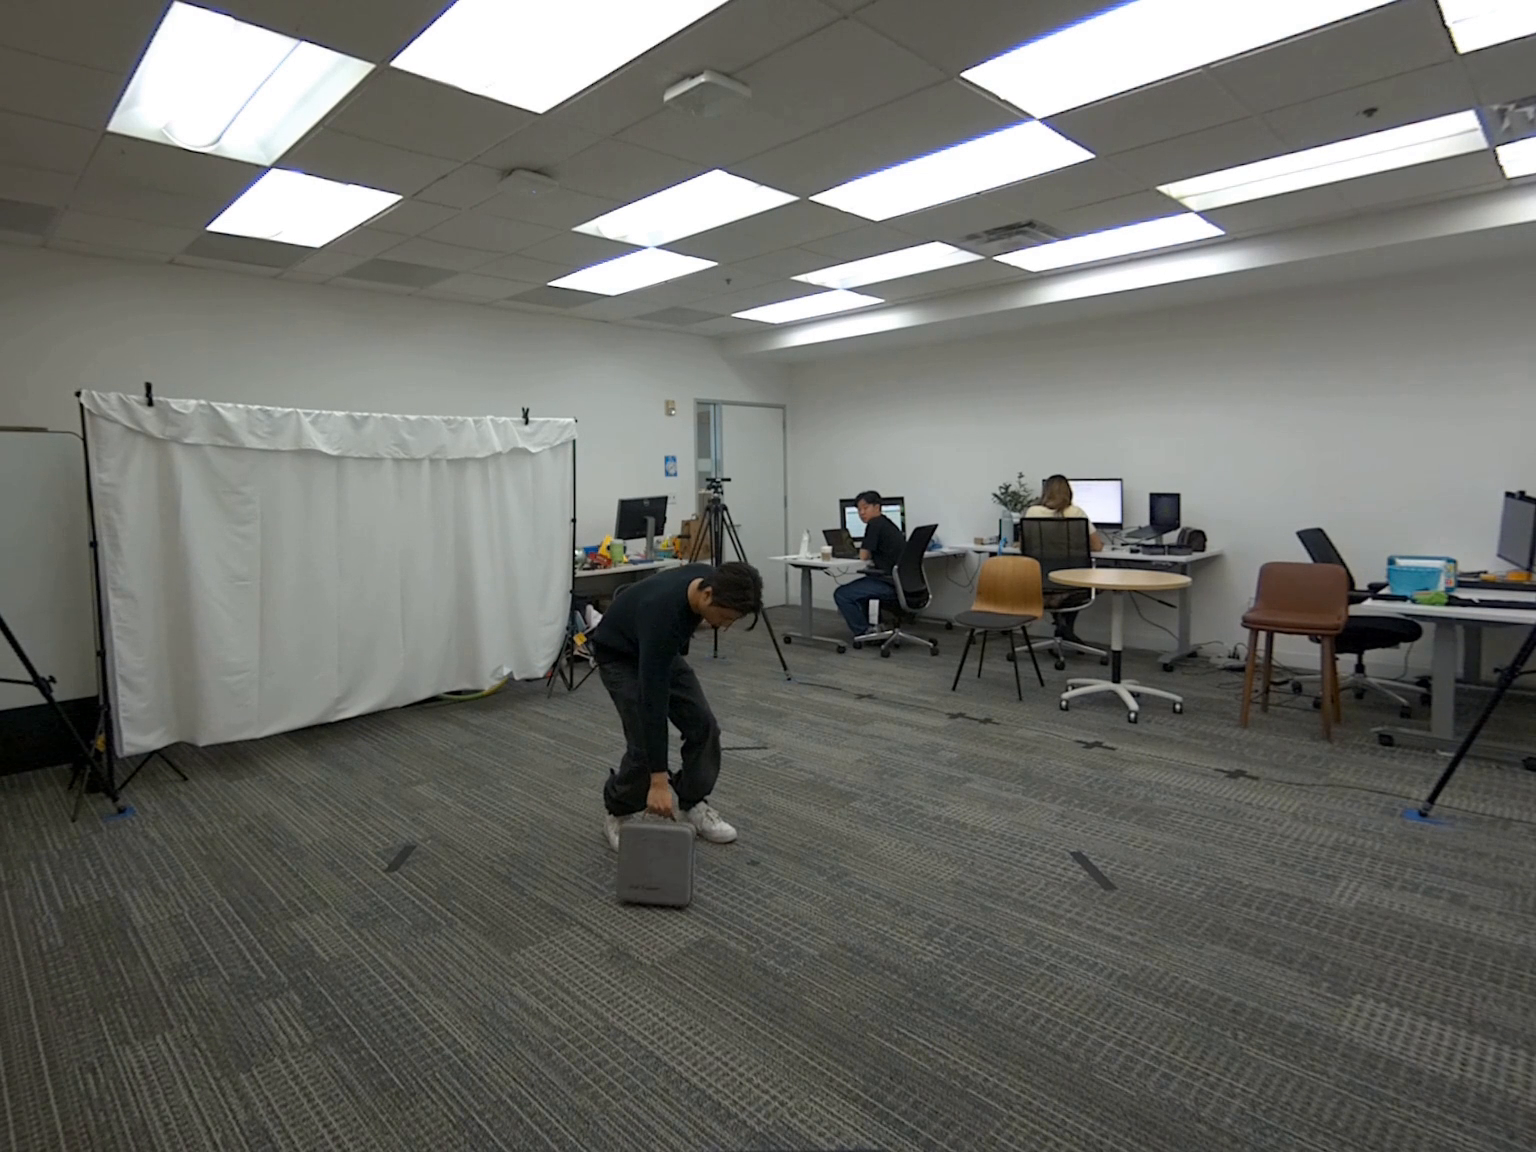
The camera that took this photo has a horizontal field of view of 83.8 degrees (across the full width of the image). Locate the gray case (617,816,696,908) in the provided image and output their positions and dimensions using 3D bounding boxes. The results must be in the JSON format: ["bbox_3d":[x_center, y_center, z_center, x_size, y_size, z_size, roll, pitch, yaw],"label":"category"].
[{"bbox_3d":[-0.377,0.940,2.854,0.259,0.262,0.103,1,-4,10],"label":"gray case"}]
